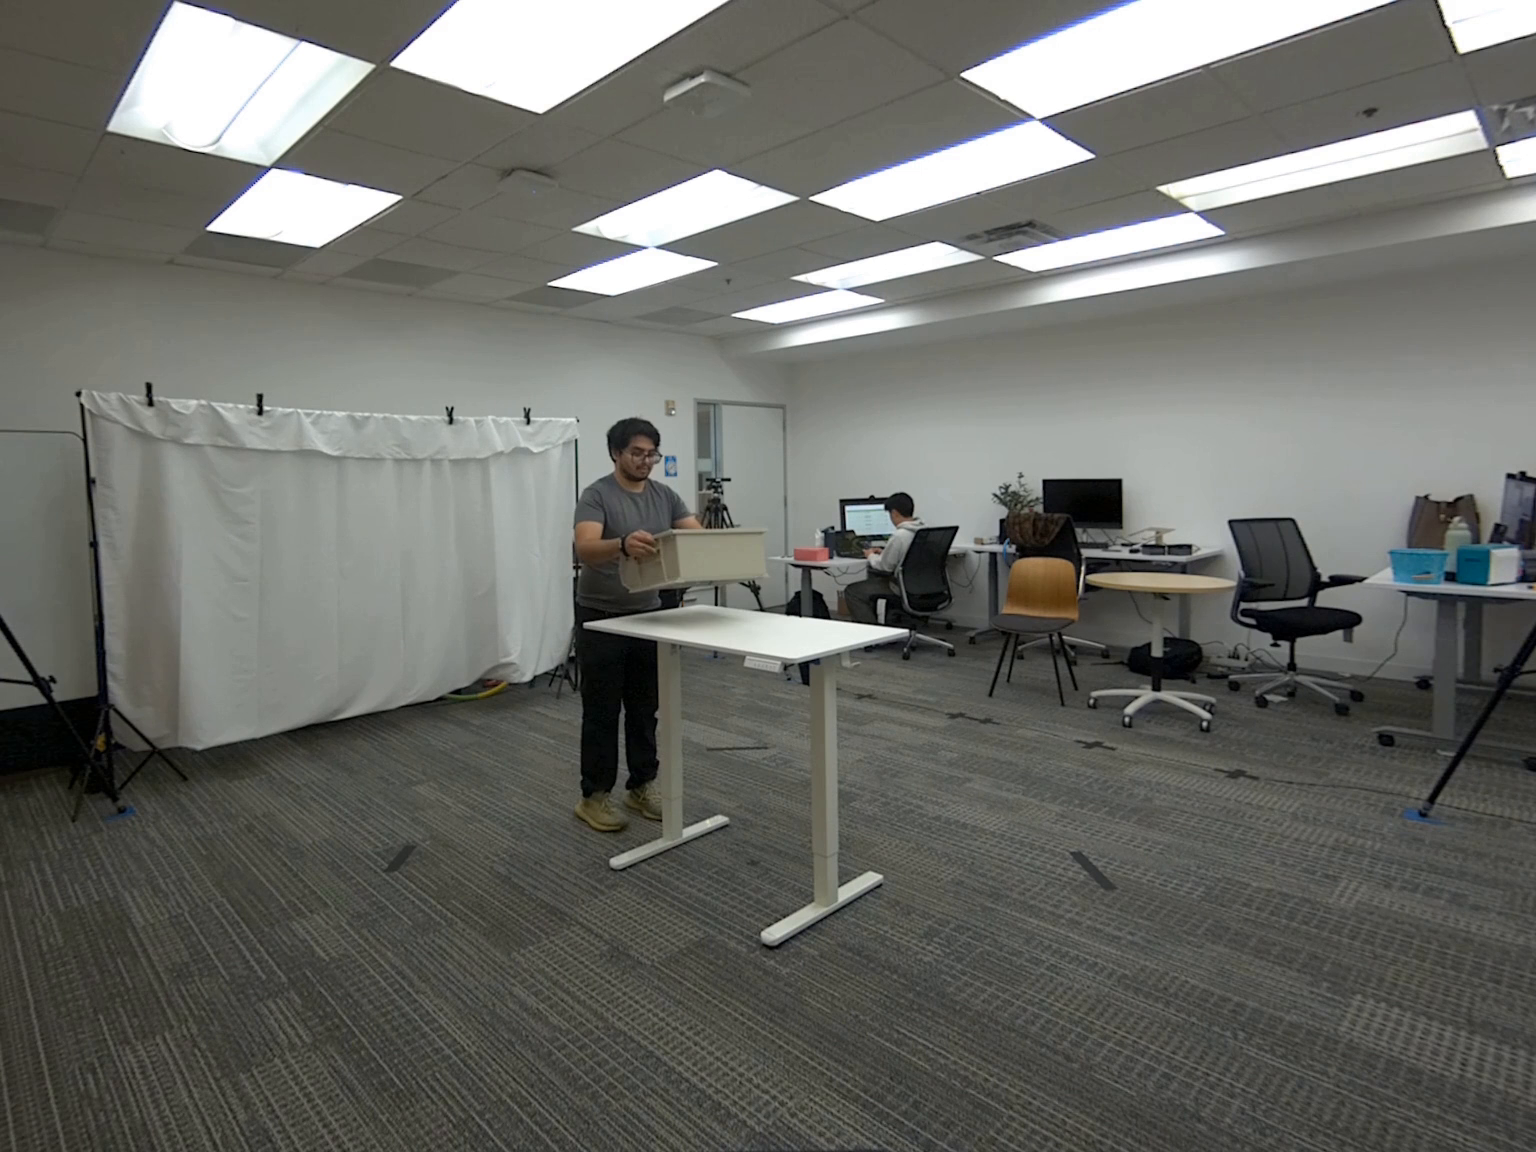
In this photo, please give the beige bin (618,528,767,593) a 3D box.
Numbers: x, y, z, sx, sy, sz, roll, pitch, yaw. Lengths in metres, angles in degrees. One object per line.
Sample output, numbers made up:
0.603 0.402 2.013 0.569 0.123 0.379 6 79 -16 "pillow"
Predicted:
-0.274 -0.049 3.138 0.411 0.190 0.386 -3 -3 -39 "beige bin"
